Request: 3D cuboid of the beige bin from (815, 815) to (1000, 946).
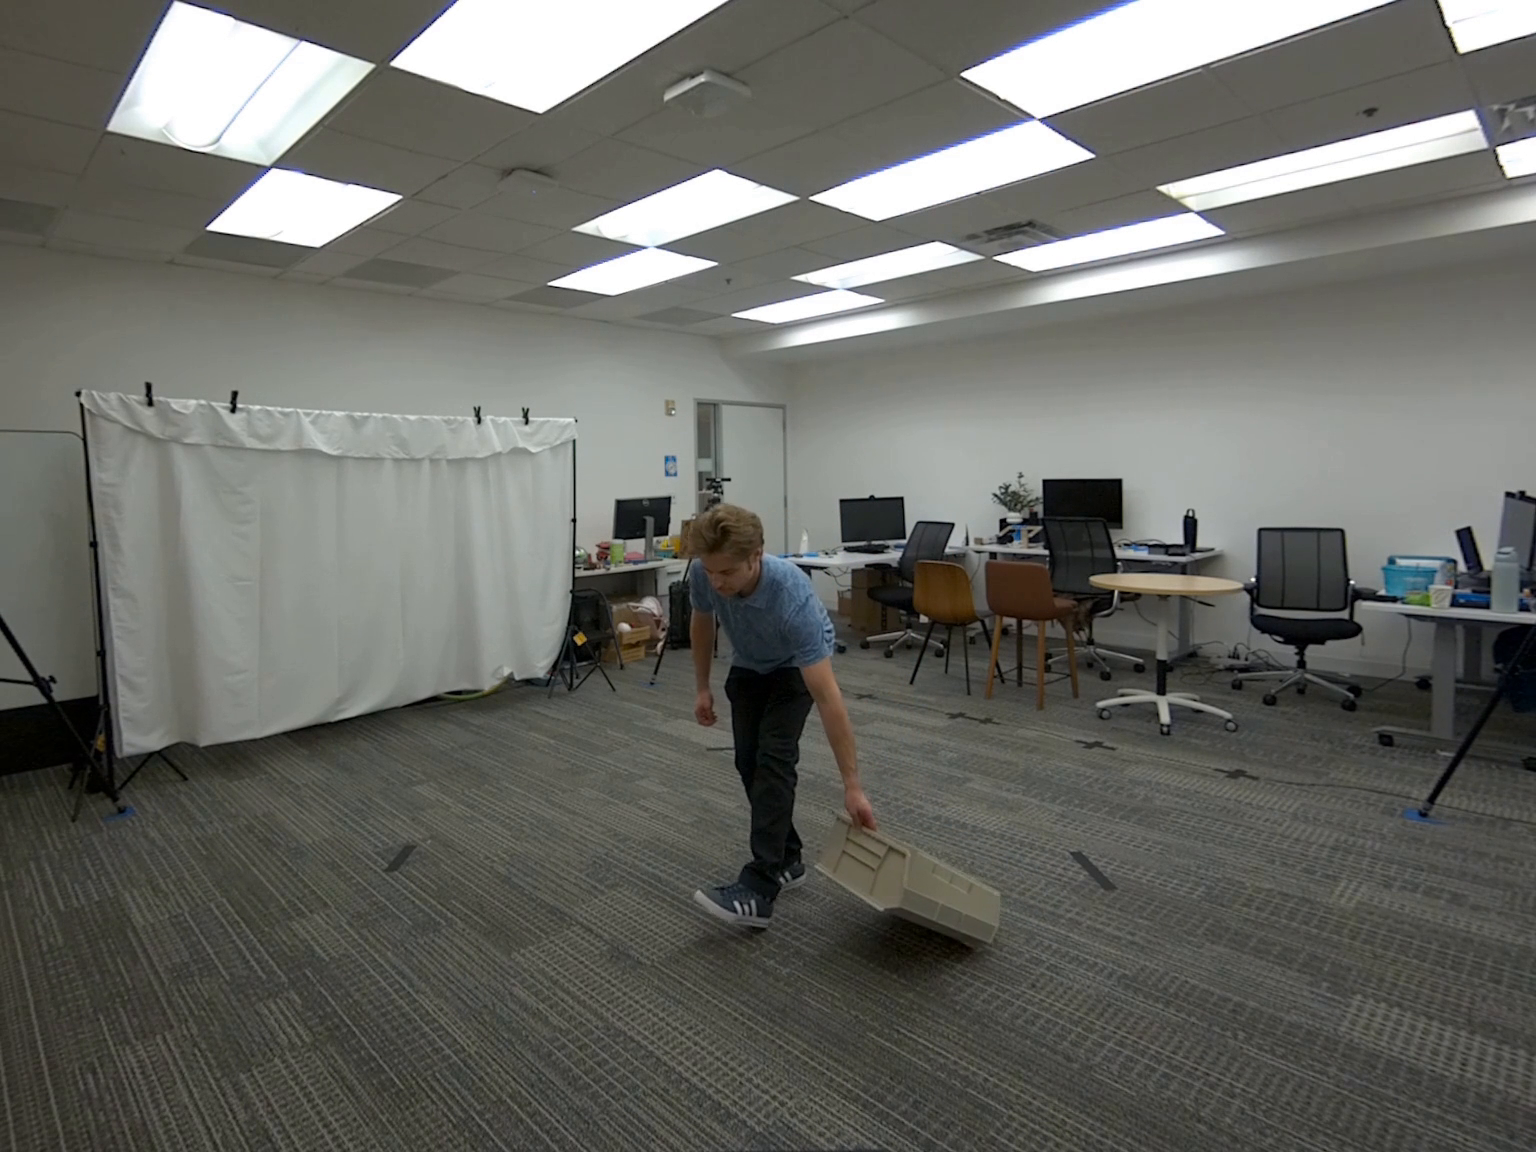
[{"bbox_3d":[0.424,0.913,2.556,0.409,0.190,0.388,30,-13,-30],"label":"beige bin"}]
